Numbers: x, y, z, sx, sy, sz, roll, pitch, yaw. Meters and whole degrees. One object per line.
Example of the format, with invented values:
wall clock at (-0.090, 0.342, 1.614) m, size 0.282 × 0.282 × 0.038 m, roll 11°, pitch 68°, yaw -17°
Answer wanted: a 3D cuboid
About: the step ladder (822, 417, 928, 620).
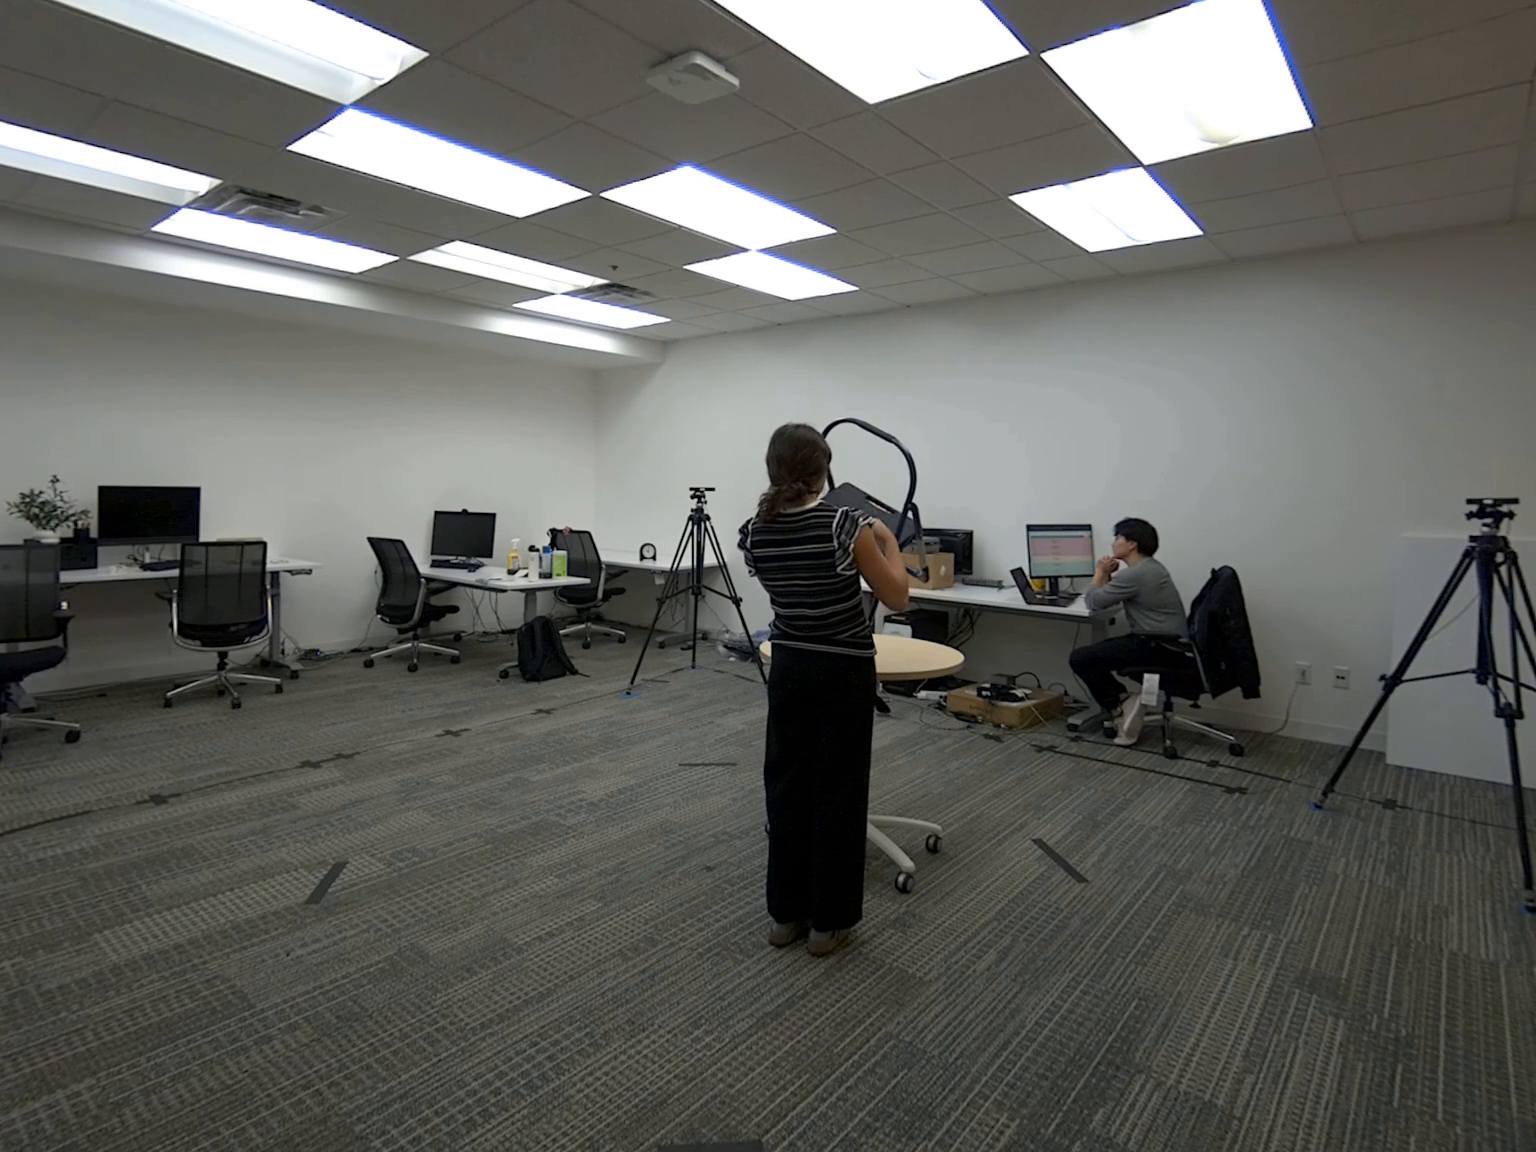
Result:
step ladder at (0.283, -0.218, 2.853) m, size 0.346 × 0.588 × 0.448 m, roll -34°, pitch 51°, yaw -30°
